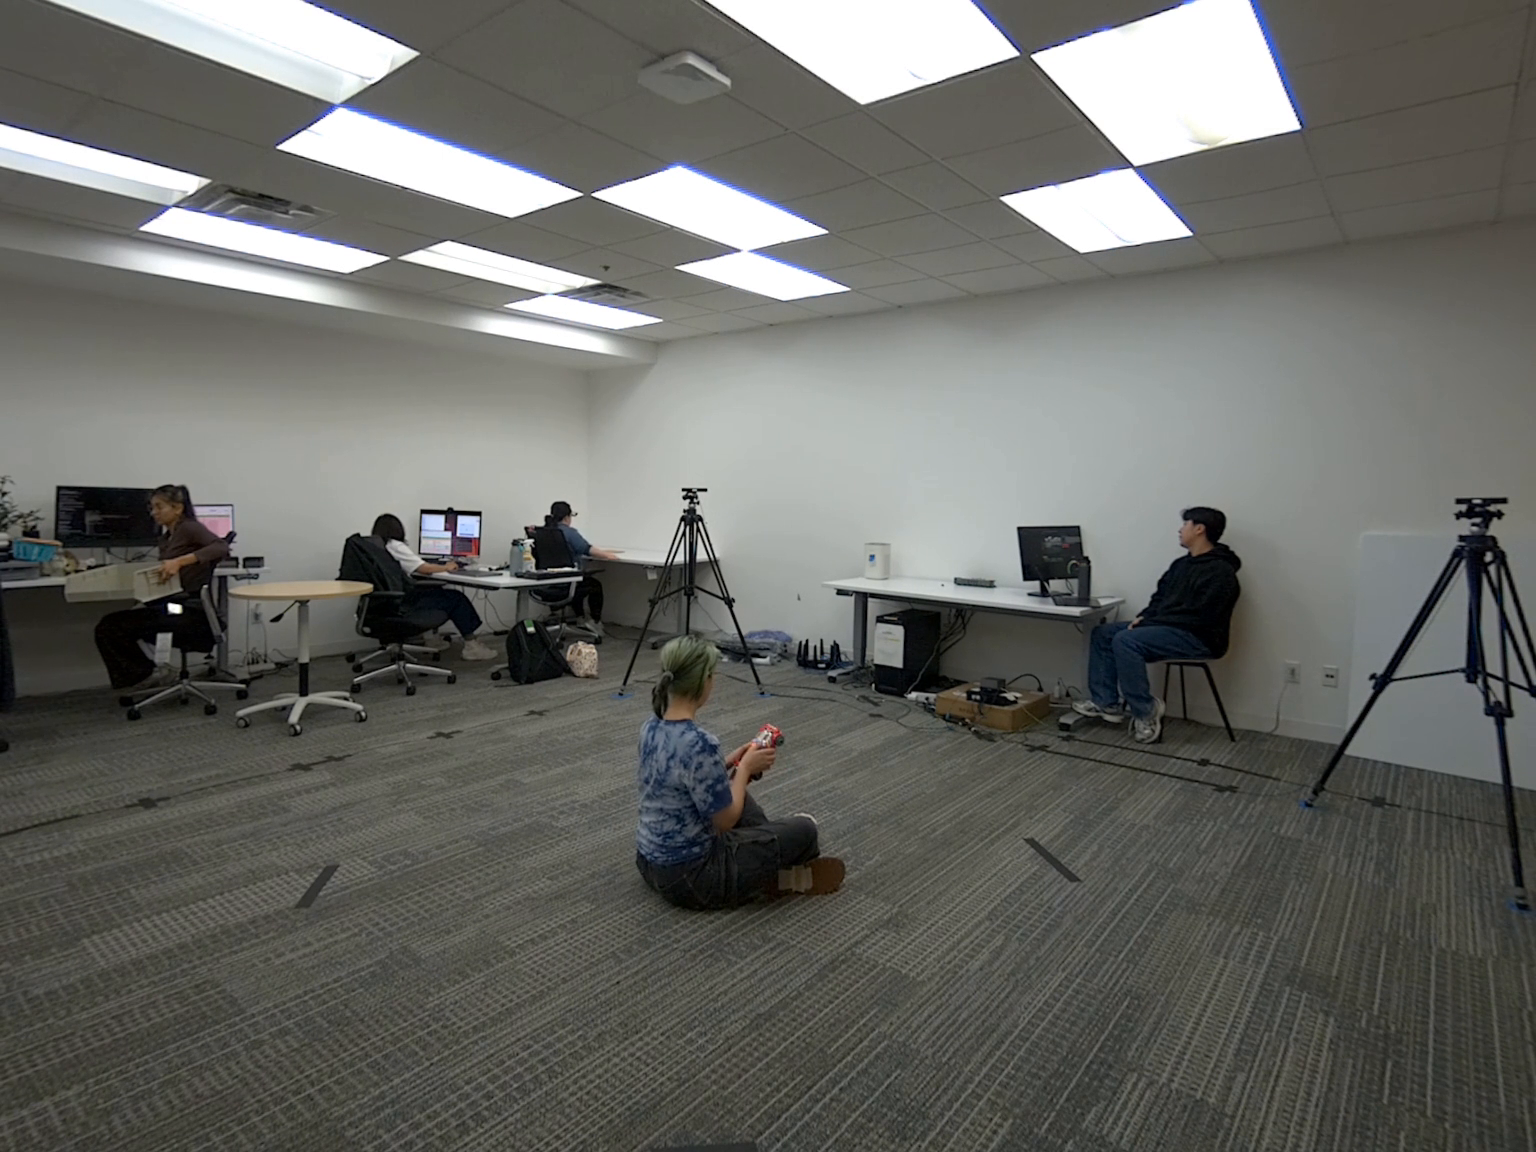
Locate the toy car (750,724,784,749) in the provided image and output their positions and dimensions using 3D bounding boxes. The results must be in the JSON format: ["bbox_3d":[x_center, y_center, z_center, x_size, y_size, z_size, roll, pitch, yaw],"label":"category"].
[{"bbox_3d":[-0.060,0.672,3.145,0.254,0.080,0.135,-45,27,-18],"label":"toy car"}]
